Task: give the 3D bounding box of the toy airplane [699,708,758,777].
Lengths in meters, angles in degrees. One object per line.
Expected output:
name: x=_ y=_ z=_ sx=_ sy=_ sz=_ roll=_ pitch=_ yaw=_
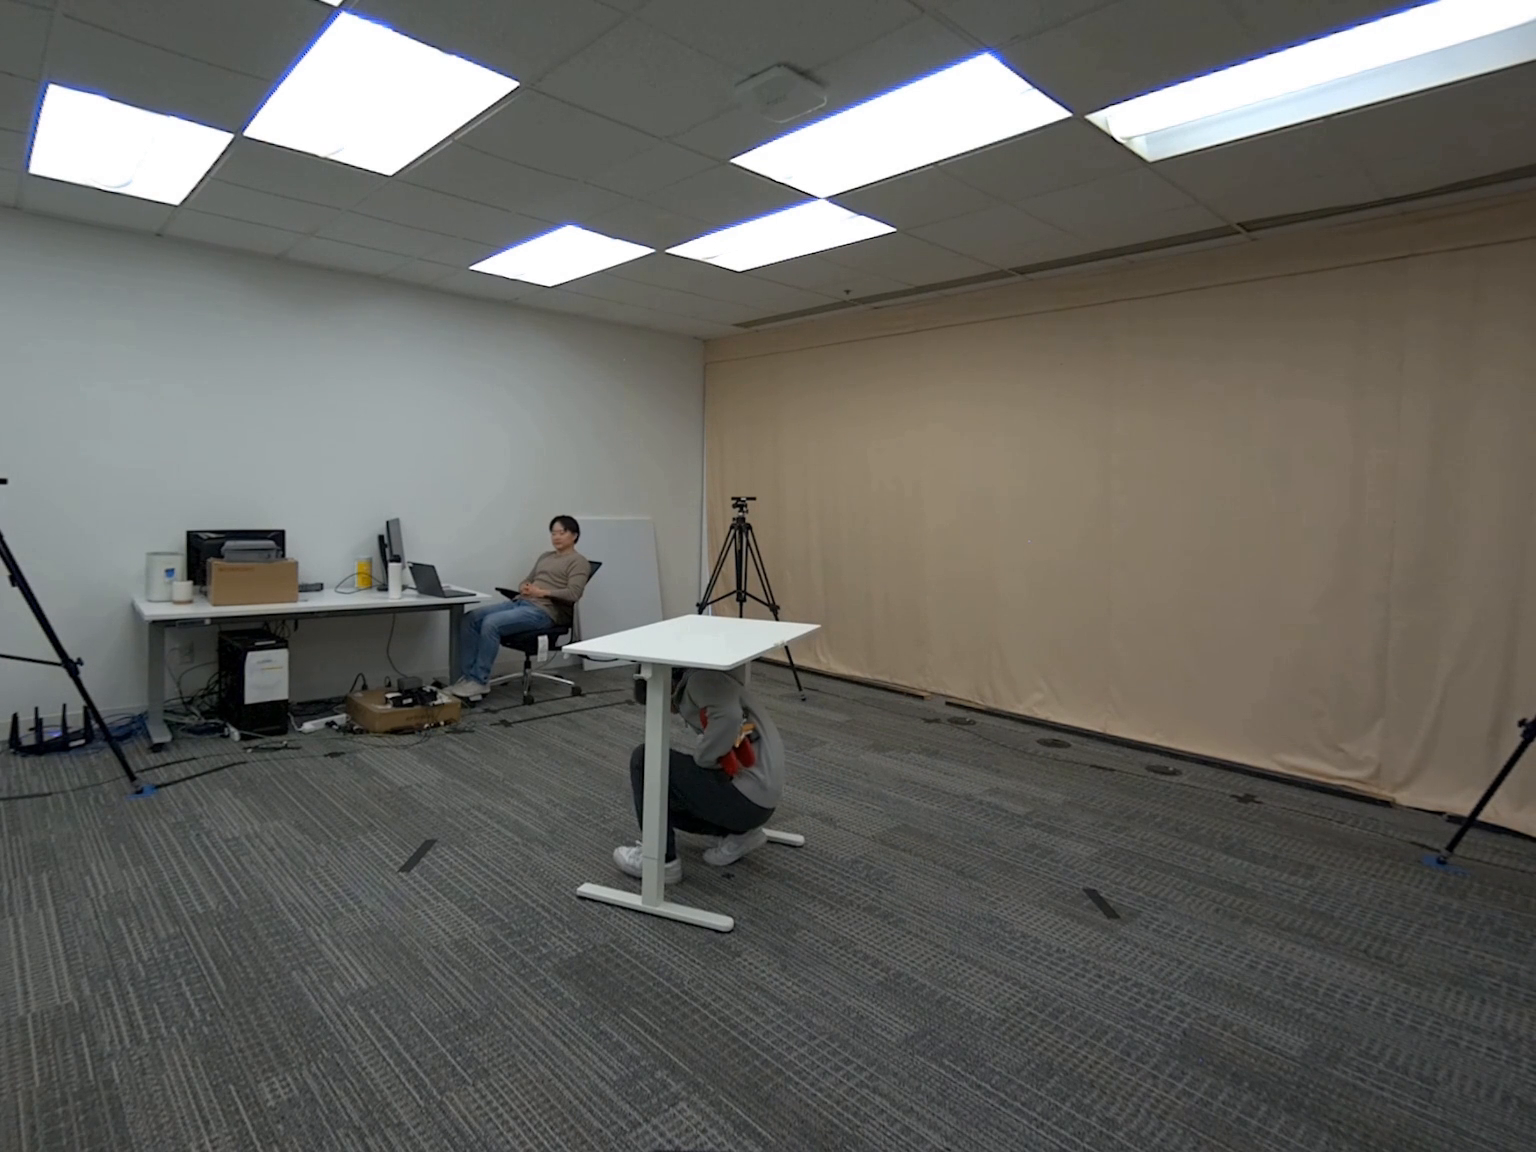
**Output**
toy airplane: x=-0.161 y=0.583 z=3.046 sx=0.155 sy=0.261 sz=0.251 roll=-29 pitch=-4 yaw=-23
